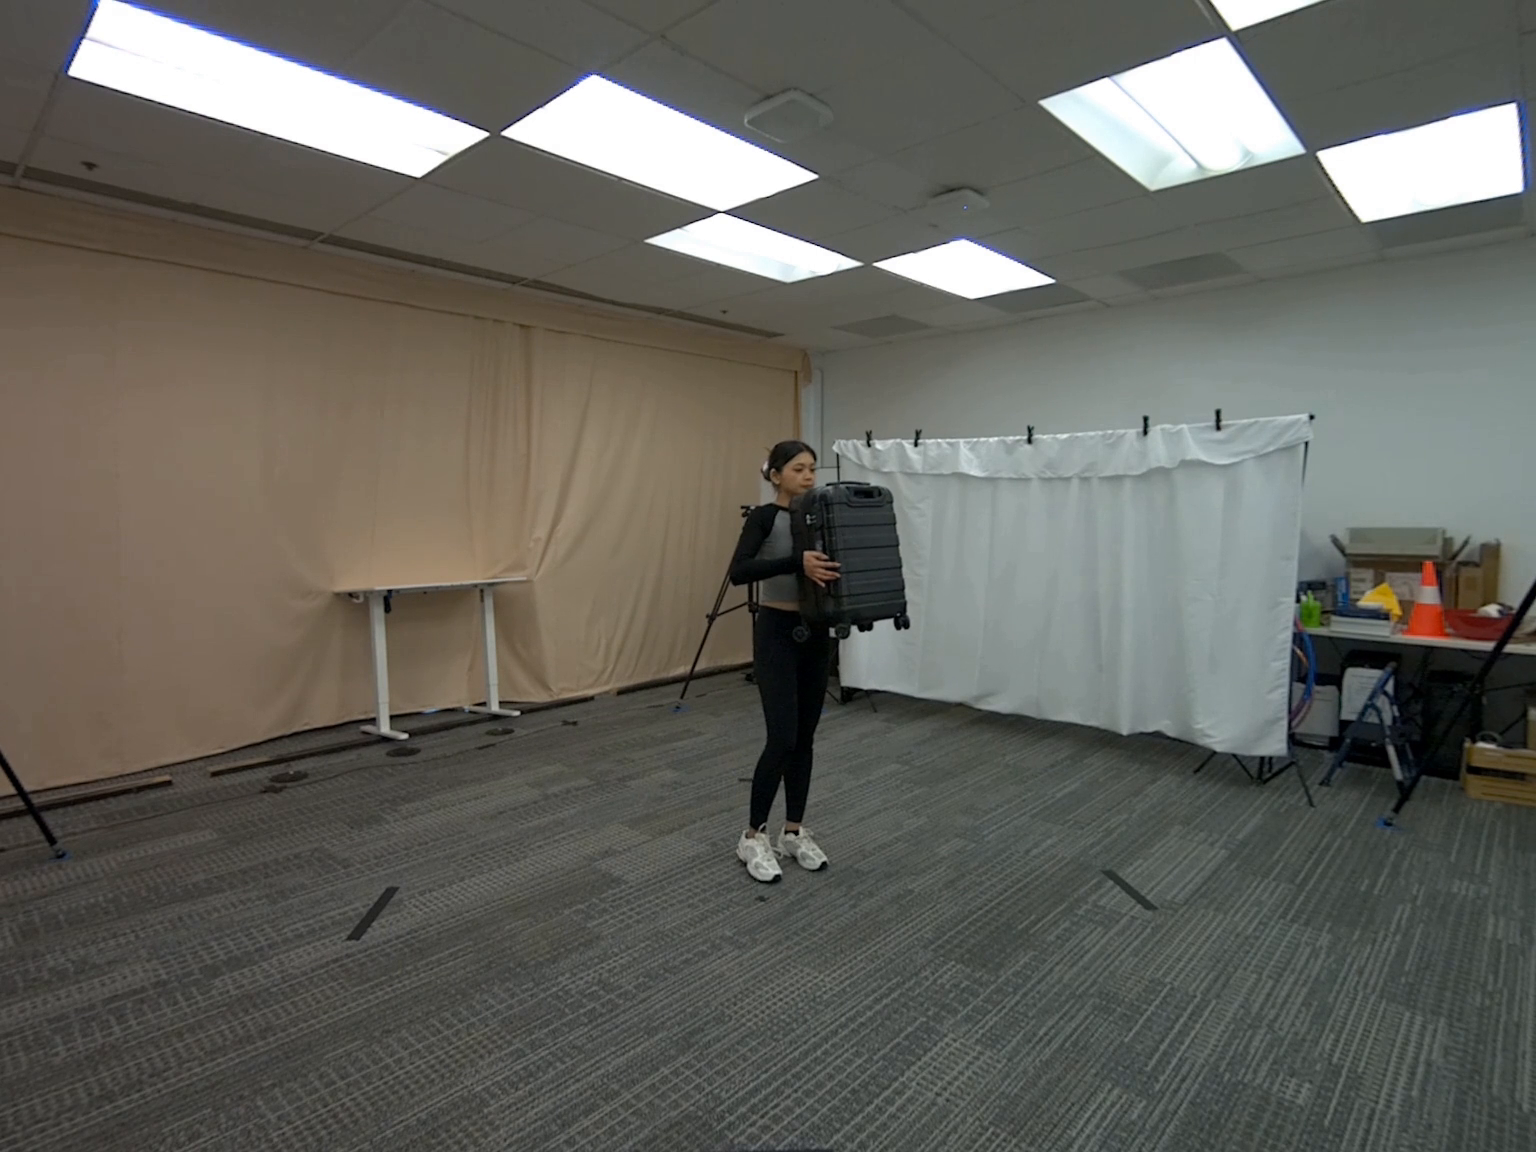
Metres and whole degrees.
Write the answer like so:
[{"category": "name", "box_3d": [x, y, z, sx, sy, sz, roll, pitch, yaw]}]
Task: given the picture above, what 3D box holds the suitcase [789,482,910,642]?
[{"category": "suitcase", "box_3d": [0.295, -0.064, 3.069, 0.364, 0.551, 0.255, -4, -4, -40]}]
